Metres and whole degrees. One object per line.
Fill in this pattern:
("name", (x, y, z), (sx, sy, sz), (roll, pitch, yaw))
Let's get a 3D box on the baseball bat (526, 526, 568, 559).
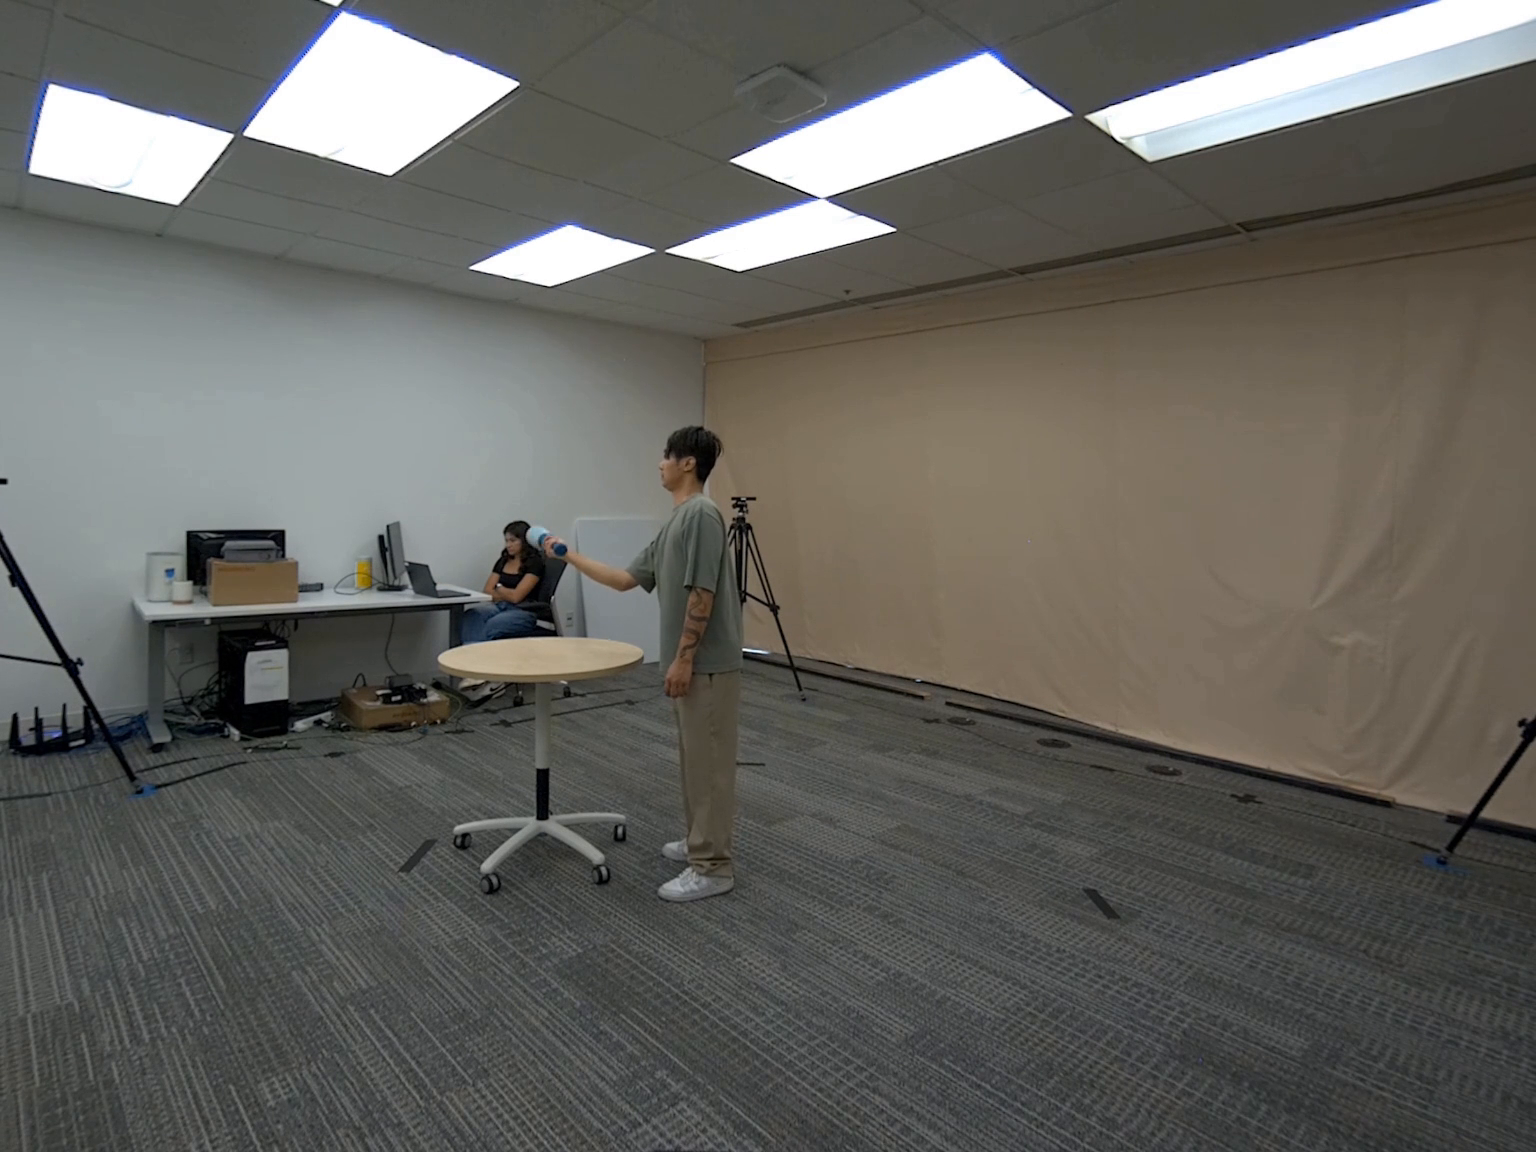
("baseball bat", (-0.880, -0.122, 3.342), (0.087, 0.088, 0.554), (0, 8, -22))
